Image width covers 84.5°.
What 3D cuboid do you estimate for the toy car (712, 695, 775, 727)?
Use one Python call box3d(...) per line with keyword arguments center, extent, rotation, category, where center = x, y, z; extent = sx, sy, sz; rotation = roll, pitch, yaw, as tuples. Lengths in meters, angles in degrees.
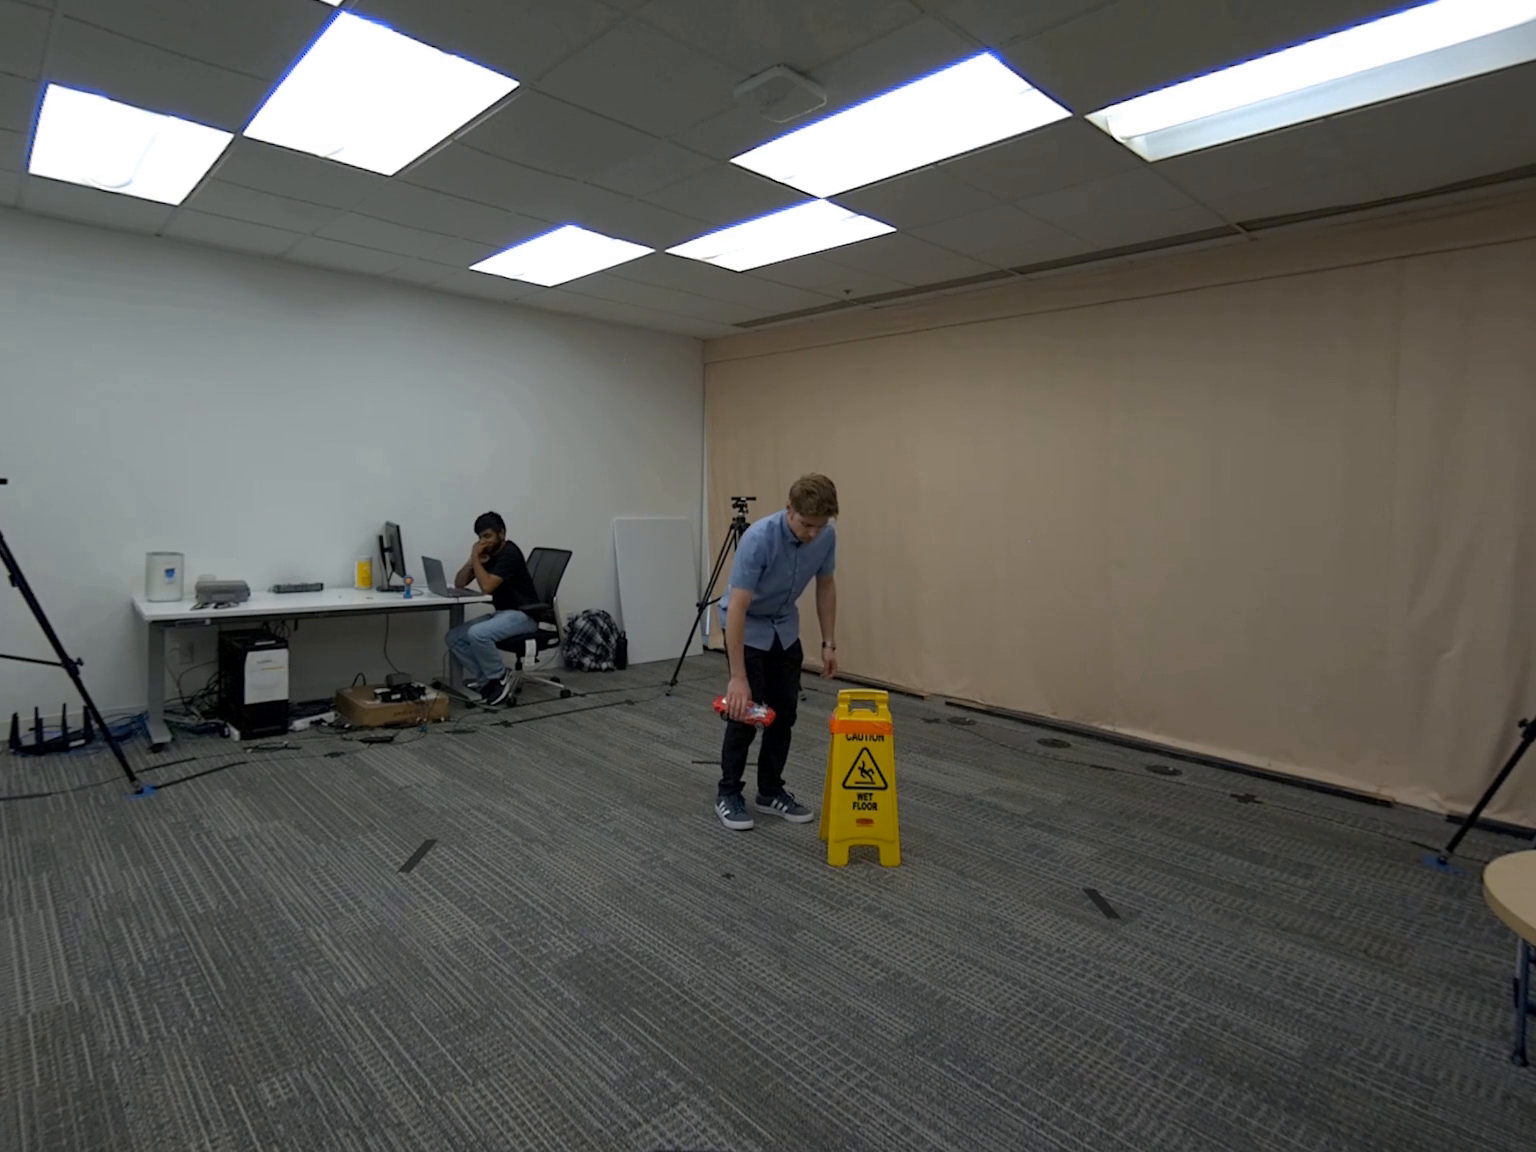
box3d(center=(-0.123, 0.548, 3.380), extent=(0.258, 0.082, 0.130), rotation=(22, 26, 14), category="toy car")
